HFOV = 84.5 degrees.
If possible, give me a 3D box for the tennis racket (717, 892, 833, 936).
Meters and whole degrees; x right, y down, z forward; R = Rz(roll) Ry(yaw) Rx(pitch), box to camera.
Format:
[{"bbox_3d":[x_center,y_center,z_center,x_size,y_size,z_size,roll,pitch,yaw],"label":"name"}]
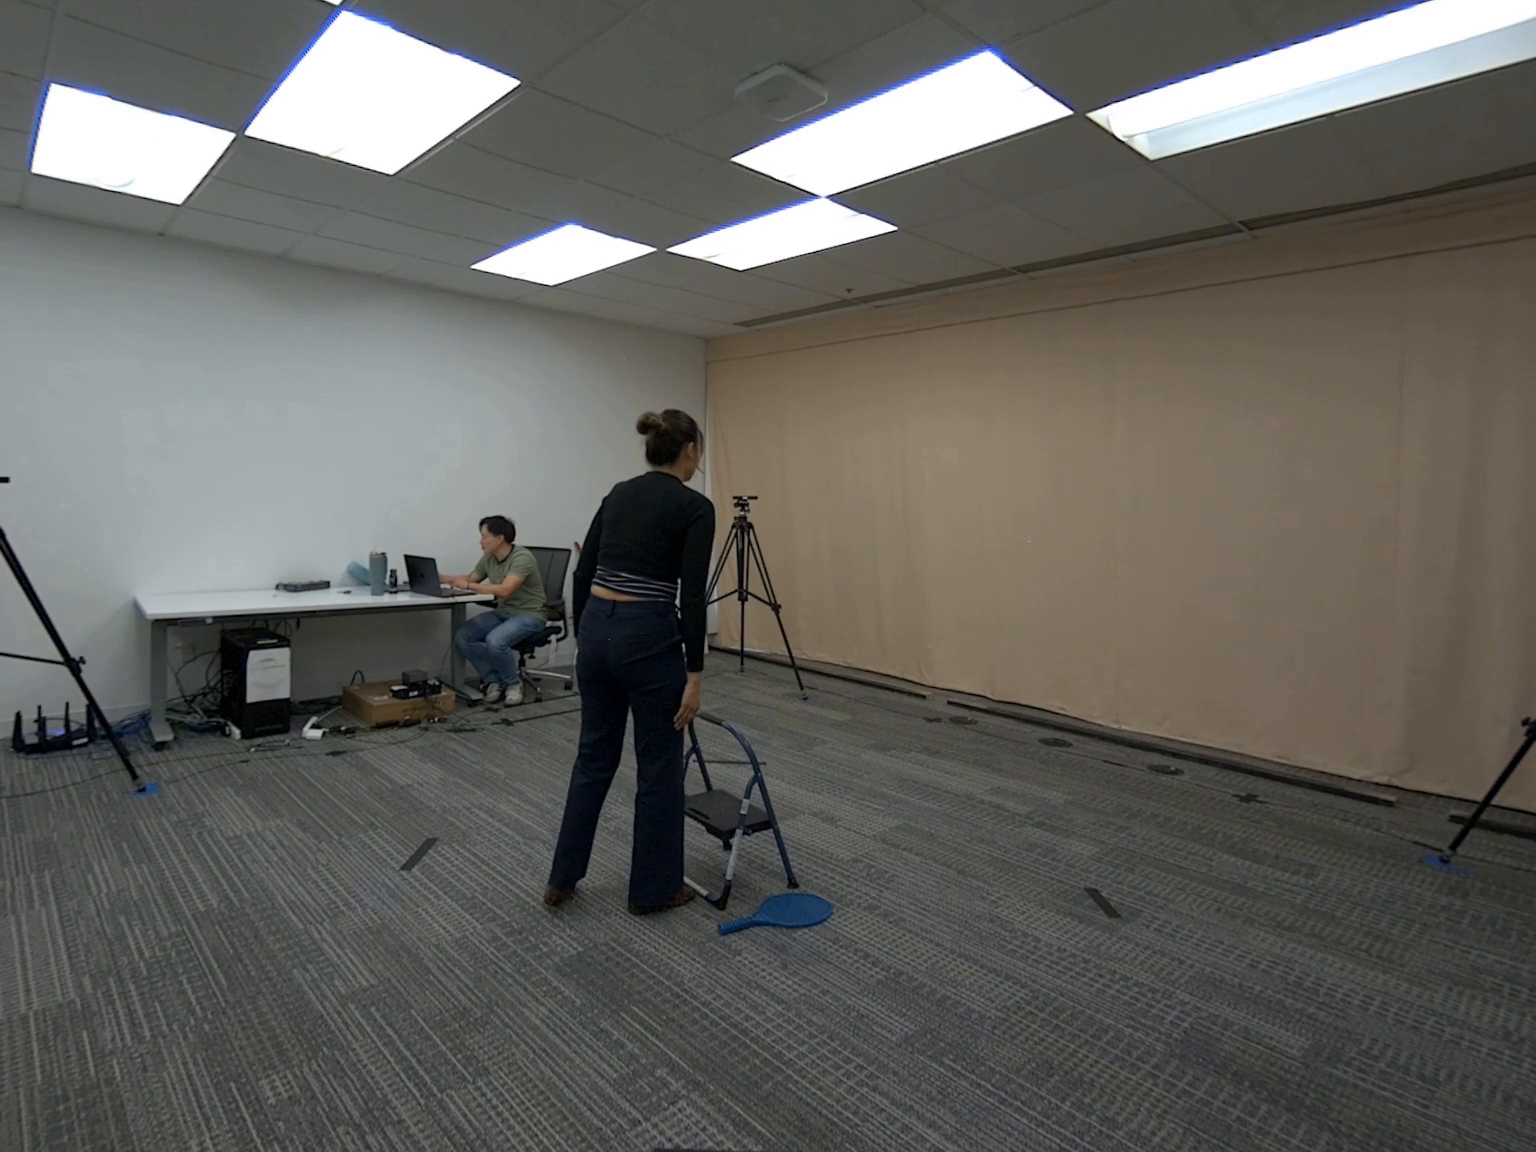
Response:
[{"bbox_3d":[0.020,1.119,2.792,0.423,0.031,0.219,-1,6,-35],"label":"tennis racket"}]
